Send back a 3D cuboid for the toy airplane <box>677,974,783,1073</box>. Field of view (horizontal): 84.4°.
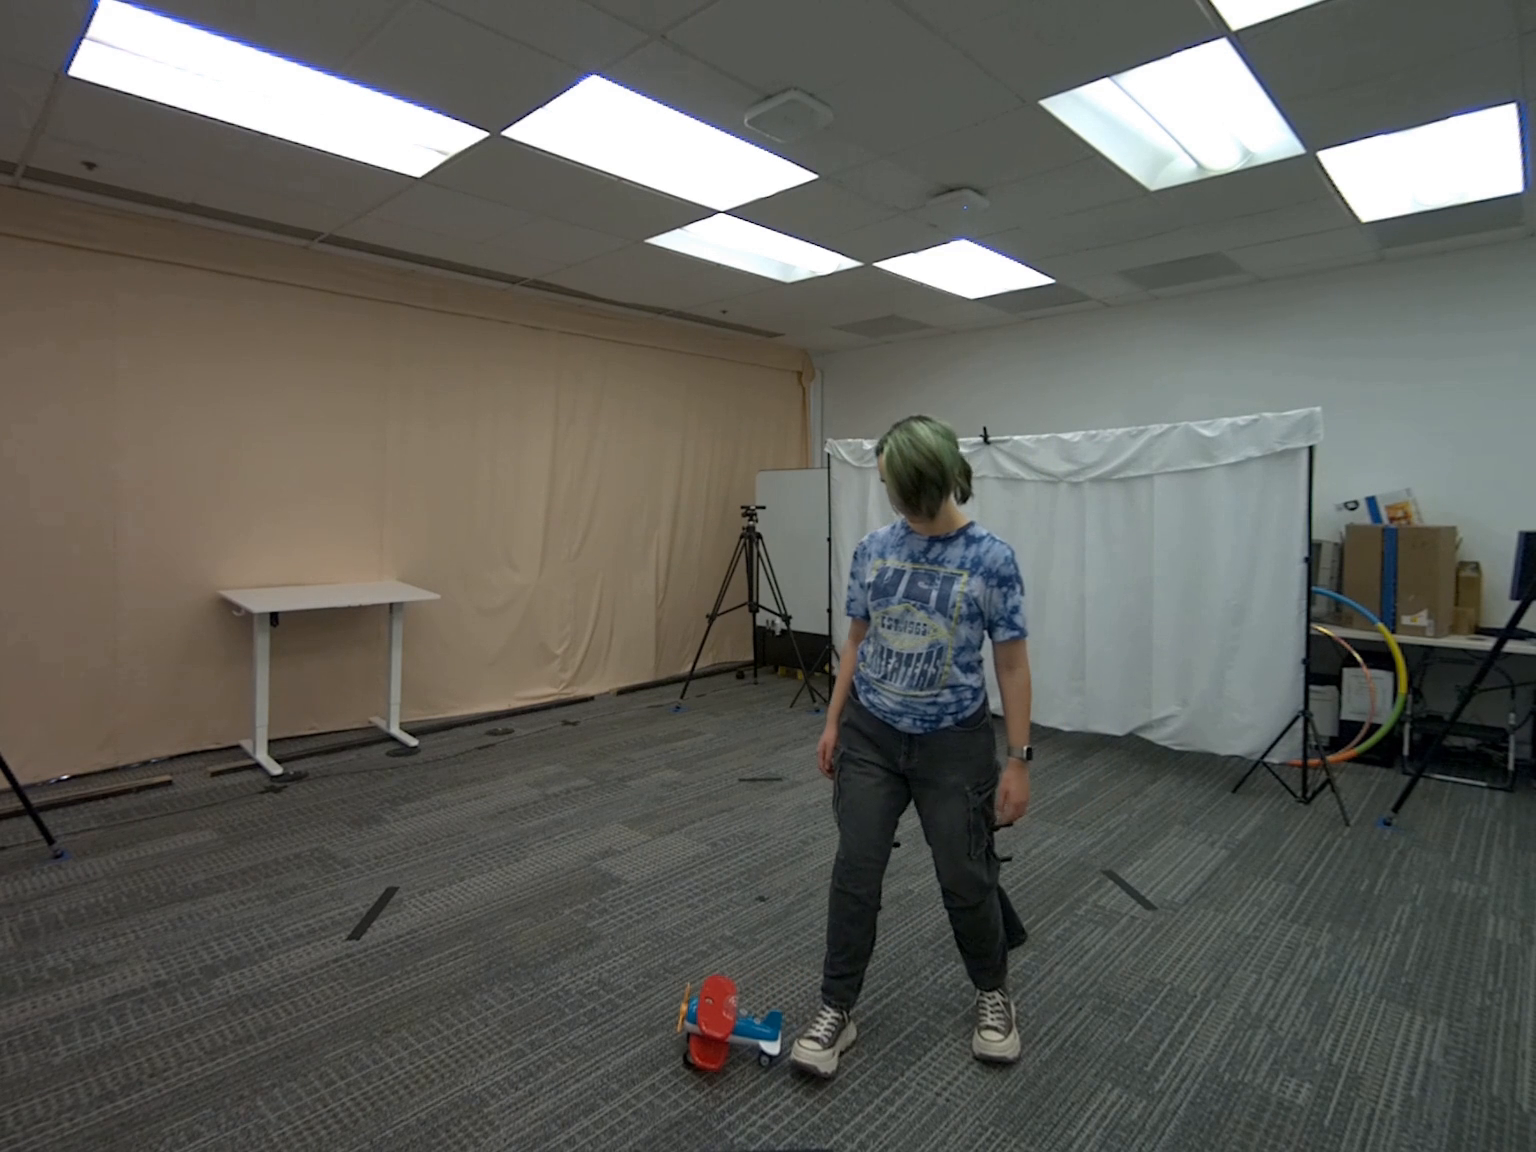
[{"bbox_3d":[-0.086,1.148,2.132,0.254,0.156,0.257,-2,3,-23],"label":"toy airplane"}]
